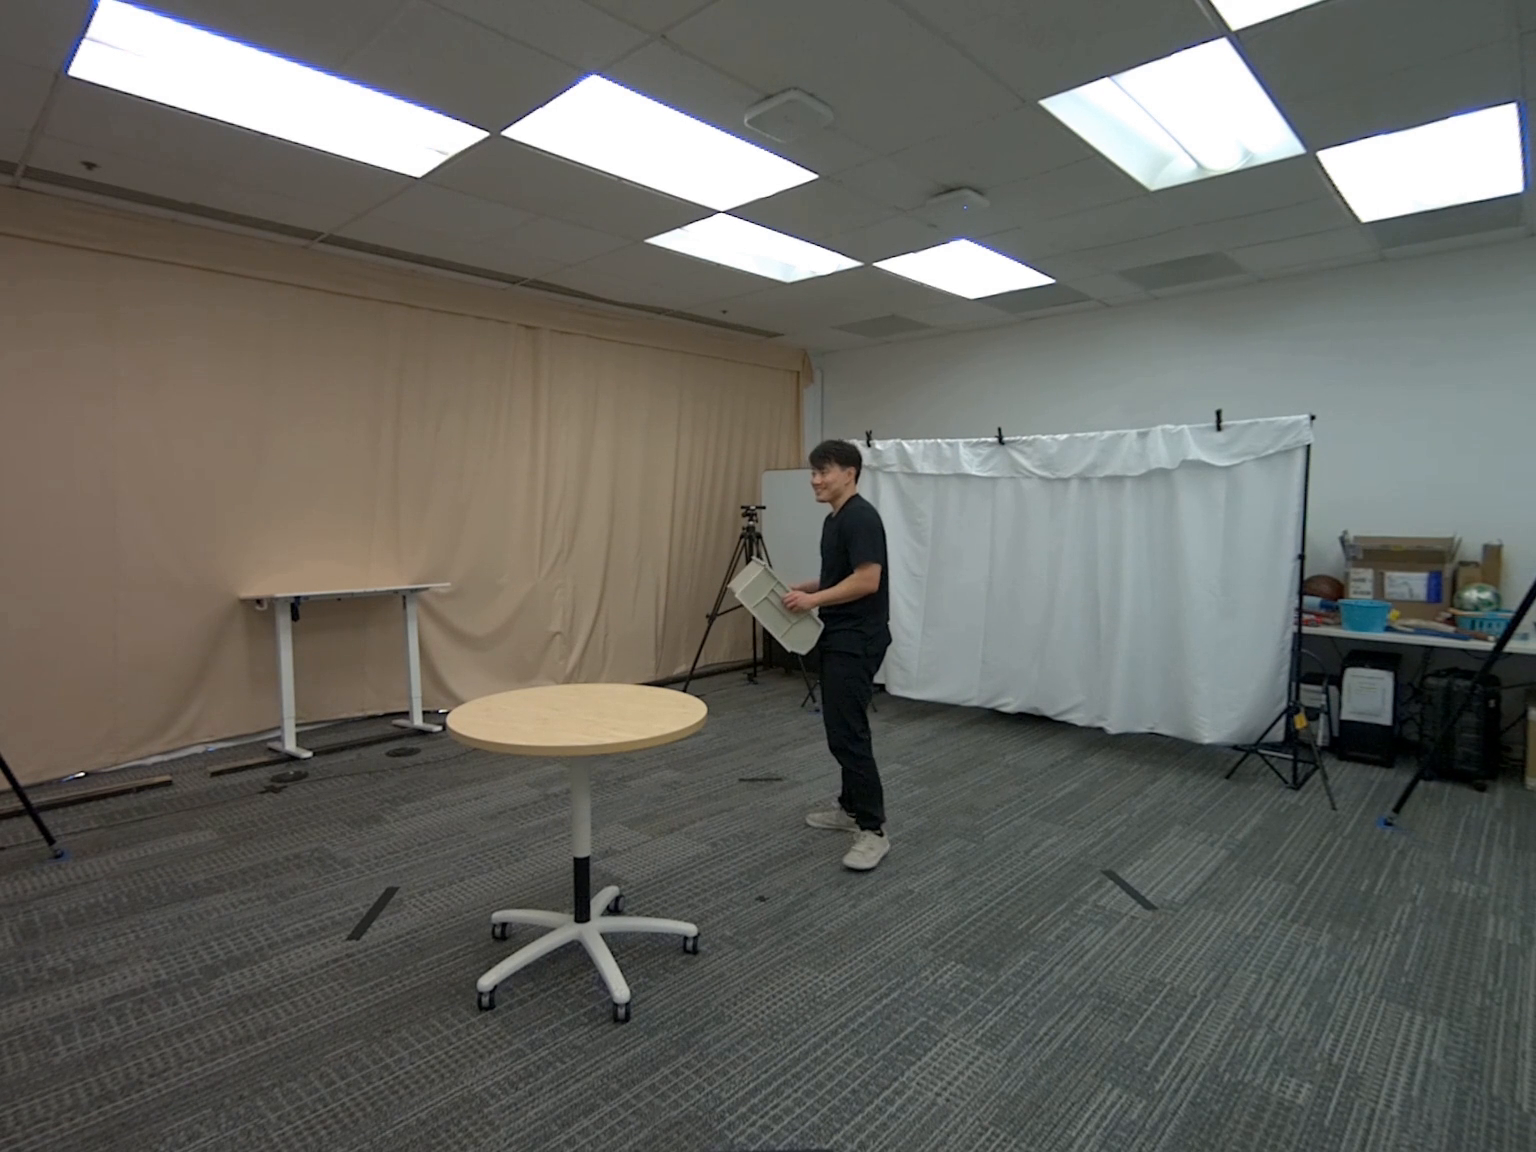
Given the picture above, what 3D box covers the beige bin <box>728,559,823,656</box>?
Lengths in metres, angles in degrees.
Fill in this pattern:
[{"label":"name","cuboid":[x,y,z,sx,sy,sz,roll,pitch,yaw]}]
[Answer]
[{"label":"beige bin","cuboid":[0.034,0.130,3.547,0.189,0.375,0.425,-44,6,-1]}]
